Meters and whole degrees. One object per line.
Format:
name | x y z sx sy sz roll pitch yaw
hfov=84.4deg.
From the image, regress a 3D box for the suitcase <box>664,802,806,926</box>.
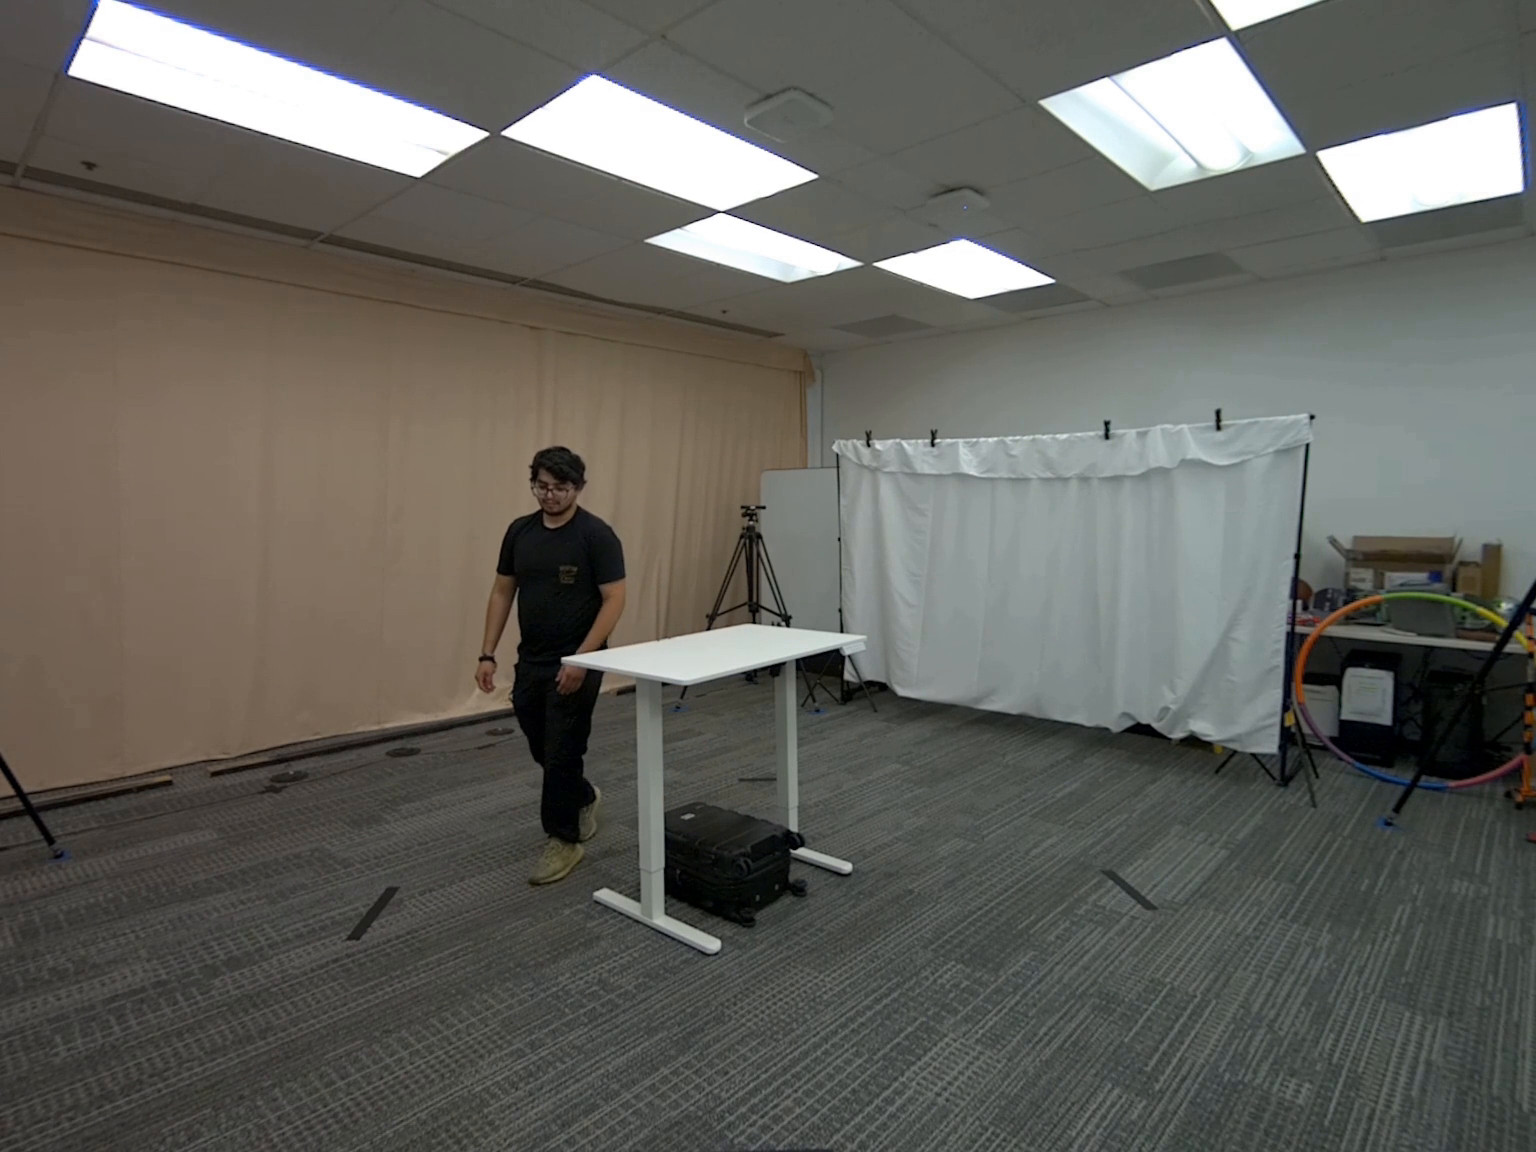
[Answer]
suitcase | -0.182 1.023 3.053 0.567 0.247 0.364 4 7 39
